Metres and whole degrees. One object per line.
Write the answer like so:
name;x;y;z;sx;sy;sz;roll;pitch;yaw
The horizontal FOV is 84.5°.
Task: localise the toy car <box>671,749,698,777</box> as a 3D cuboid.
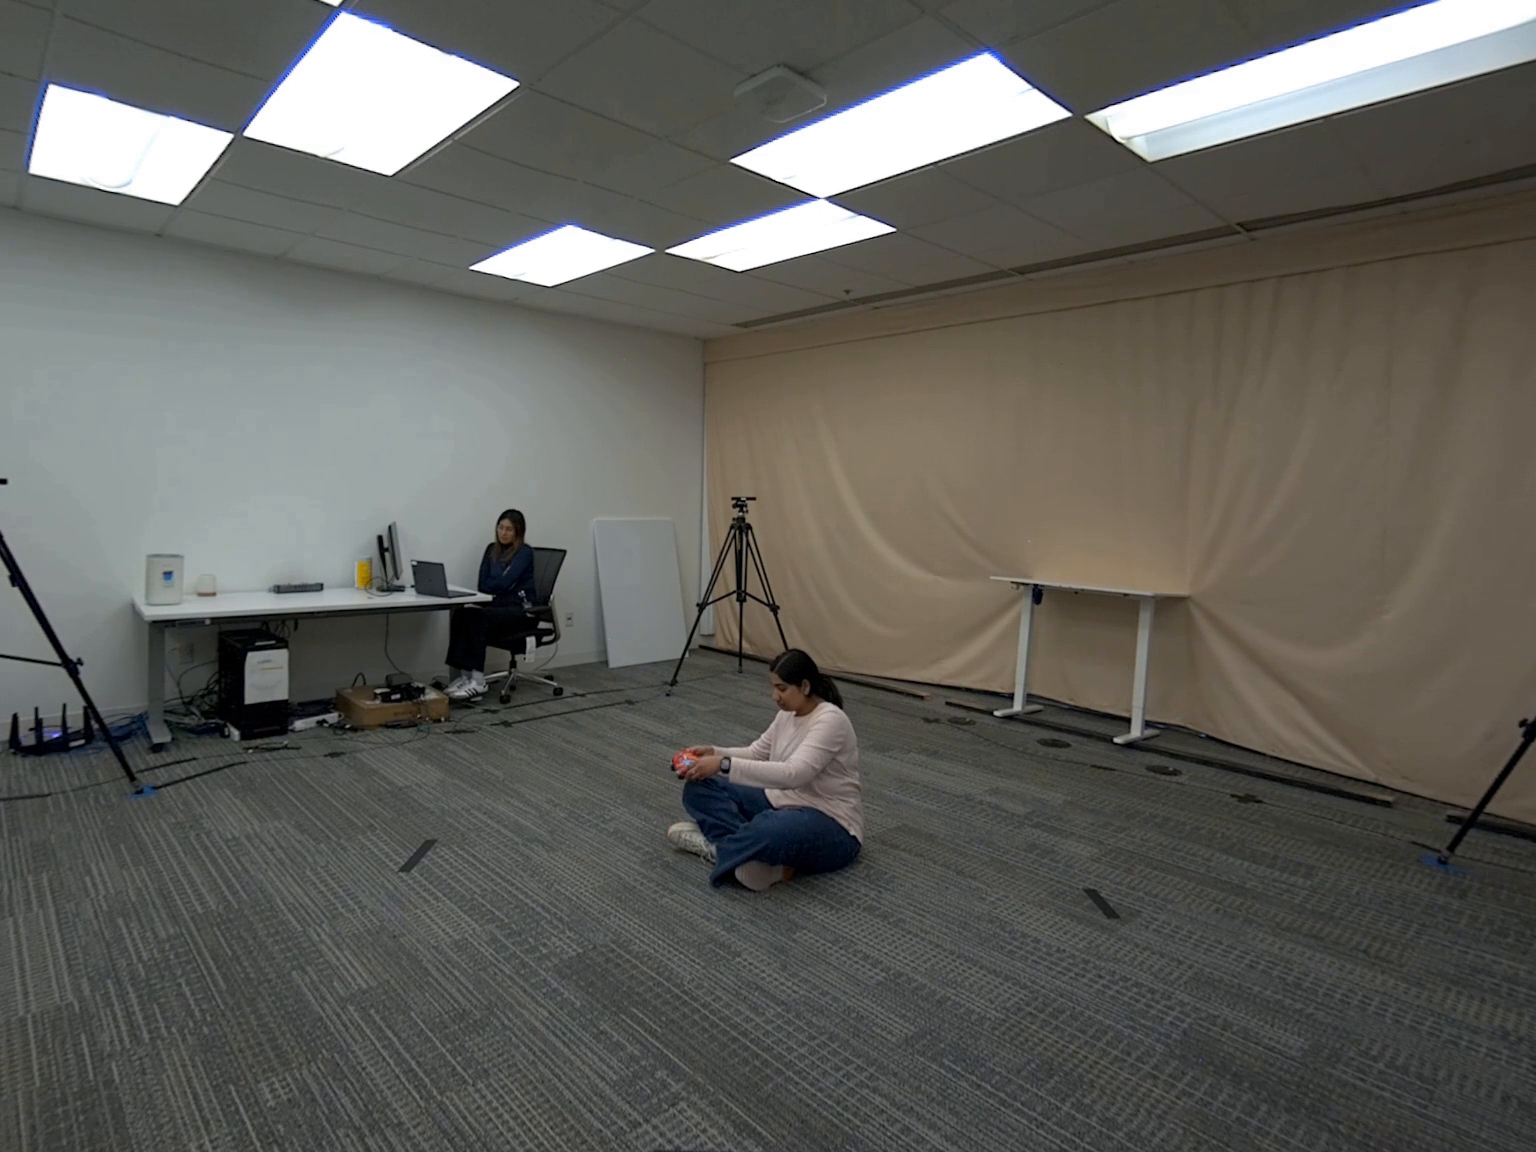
toy car;-0.315;0.743;3.295;0.129;0.083;0.259;7;9;-15
